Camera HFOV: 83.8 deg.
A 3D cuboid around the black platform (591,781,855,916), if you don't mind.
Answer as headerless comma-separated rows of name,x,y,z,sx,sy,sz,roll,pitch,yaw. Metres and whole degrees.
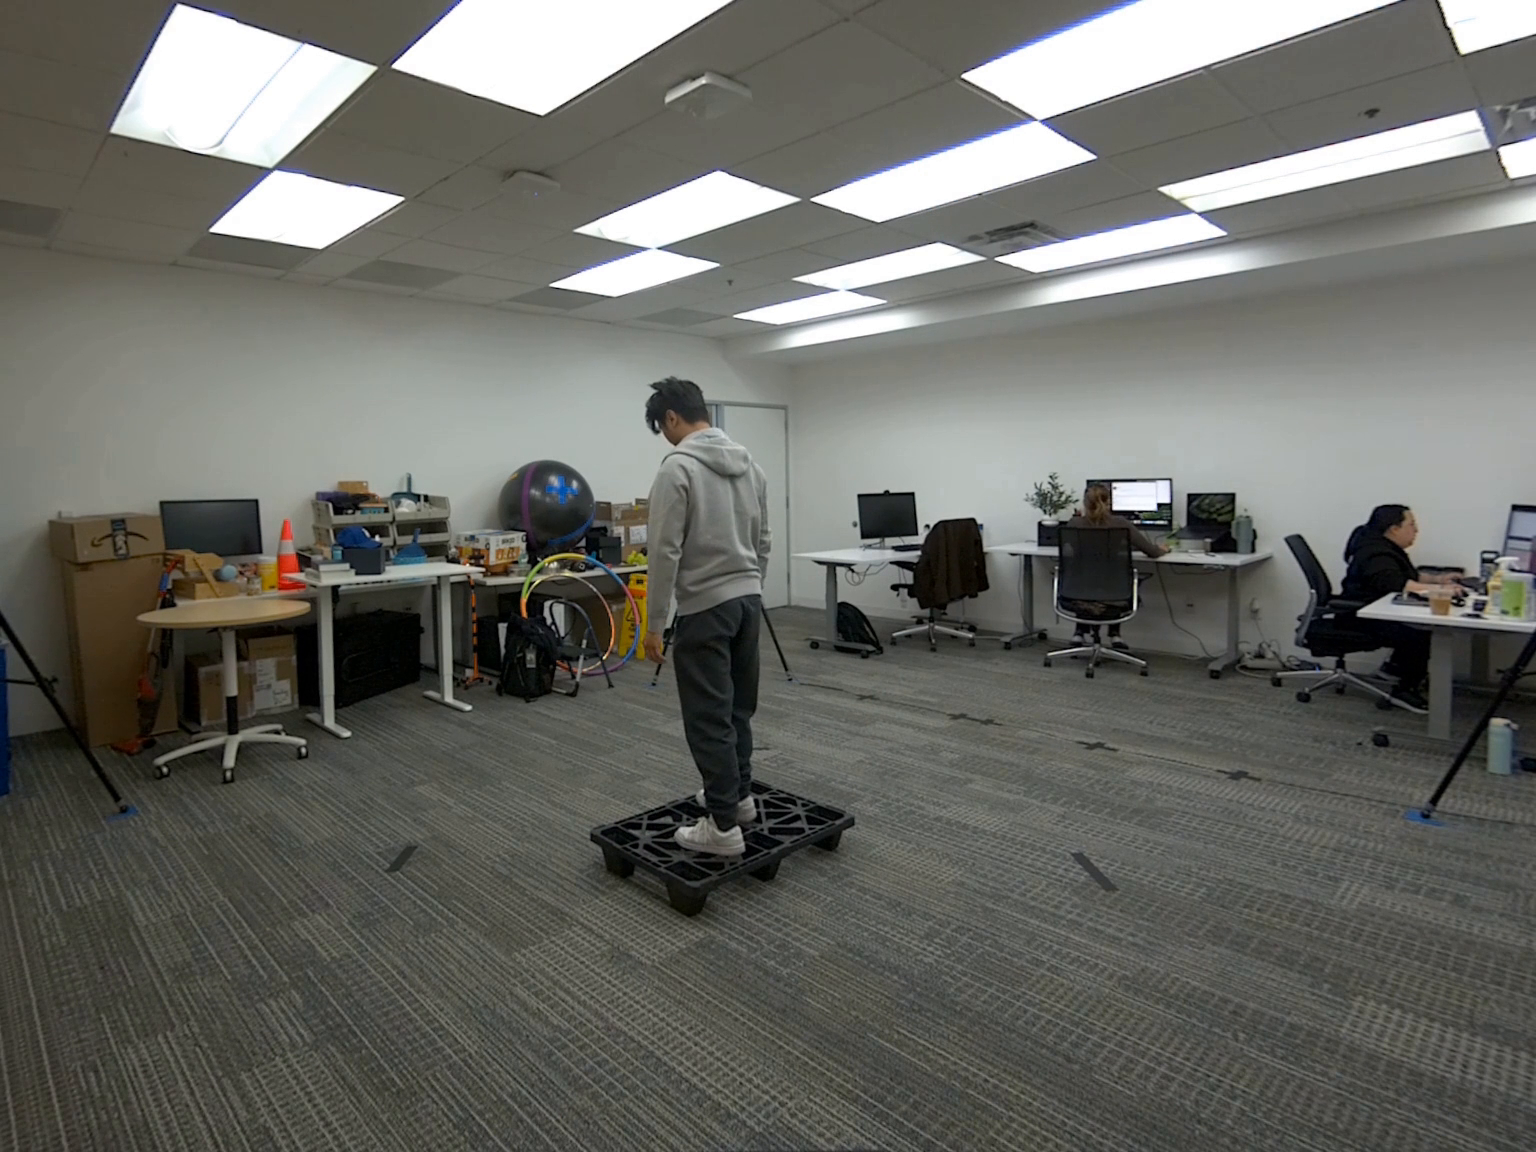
black platform,-0.153,0.974,3.147,0.785,0.142,0.624,-8,10,-43
